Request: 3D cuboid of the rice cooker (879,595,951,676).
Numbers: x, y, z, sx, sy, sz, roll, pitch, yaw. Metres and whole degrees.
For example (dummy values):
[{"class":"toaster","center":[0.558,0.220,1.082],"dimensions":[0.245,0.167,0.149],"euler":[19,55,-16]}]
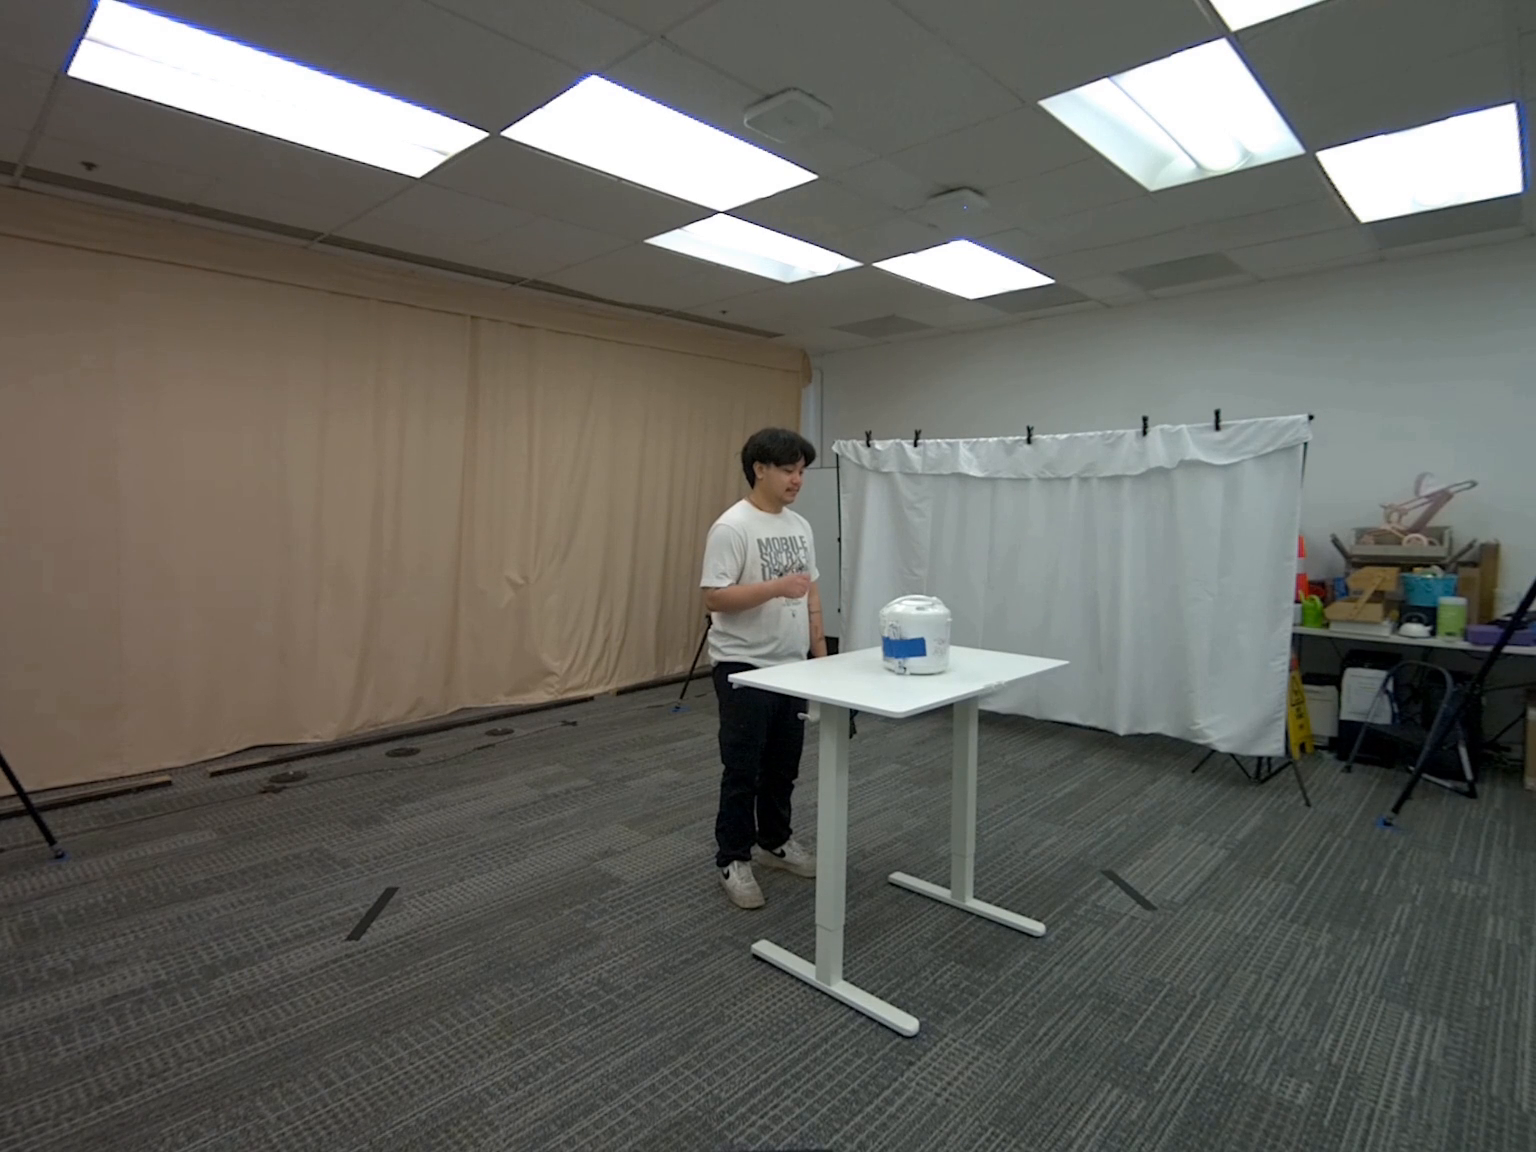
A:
[{"class":"rice cooker","center":[0.460,0.177,2.596],"dimensions":[0.219,0.232,0.219],"euler":[1,4,-7]}]
